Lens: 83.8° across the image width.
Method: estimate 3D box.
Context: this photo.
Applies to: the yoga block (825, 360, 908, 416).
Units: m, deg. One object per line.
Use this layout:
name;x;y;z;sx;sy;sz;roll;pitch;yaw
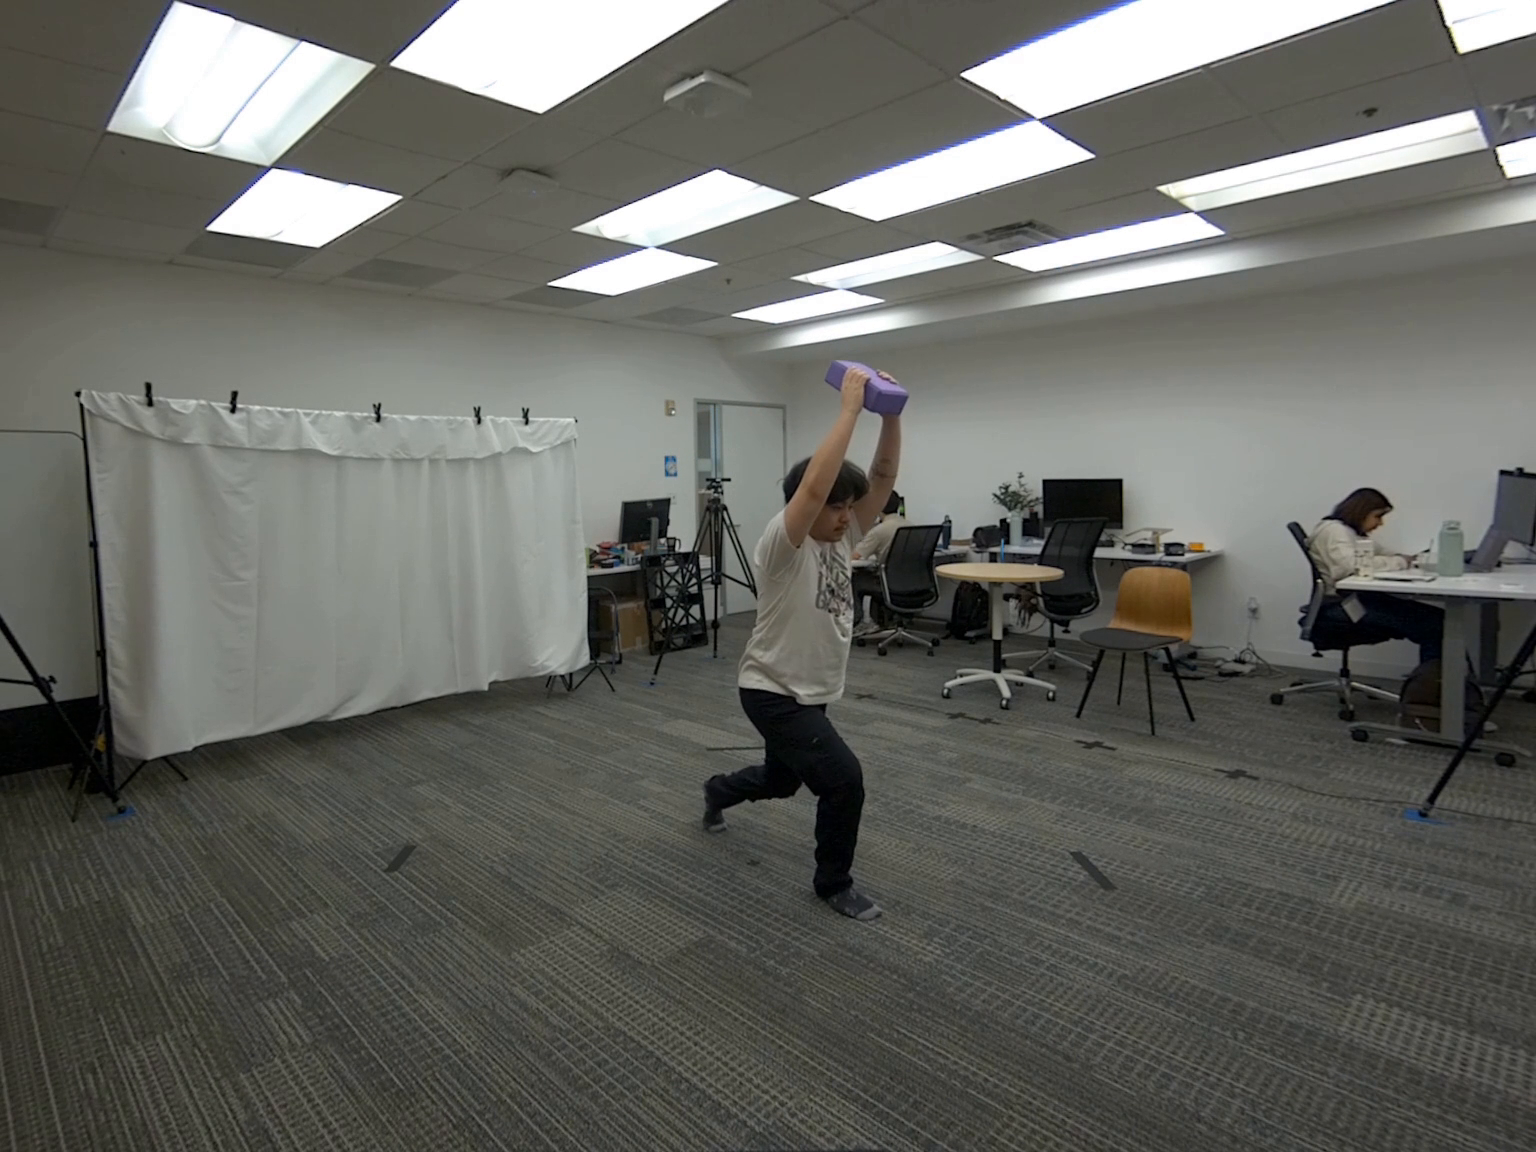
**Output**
yoga block;0.302;-0.582;2.643;0.145;0.075;0.238;-4;36;-42
